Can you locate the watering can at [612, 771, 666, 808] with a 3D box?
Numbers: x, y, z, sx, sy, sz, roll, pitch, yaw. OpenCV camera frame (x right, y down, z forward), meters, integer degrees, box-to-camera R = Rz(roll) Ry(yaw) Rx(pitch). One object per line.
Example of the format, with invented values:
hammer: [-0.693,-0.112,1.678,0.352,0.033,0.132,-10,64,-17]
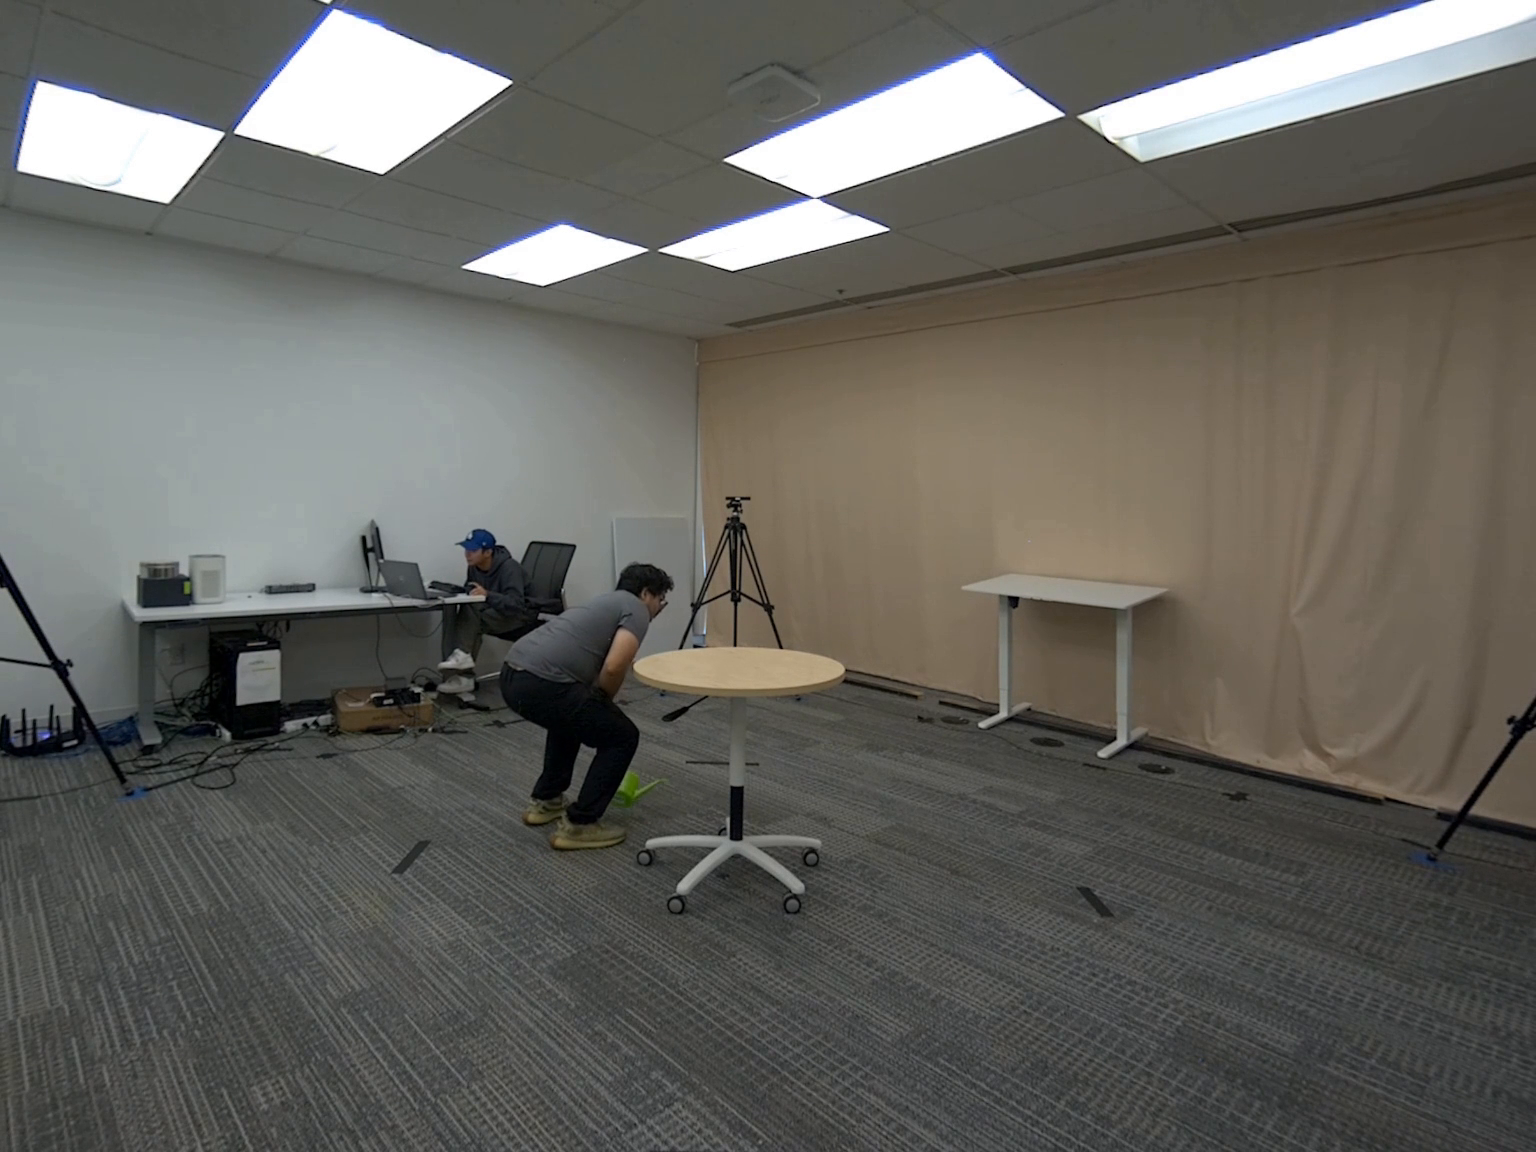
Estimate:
watering can: [-0.606,0.920,3.652,0.280,0.096,0.179,1,28,8]
